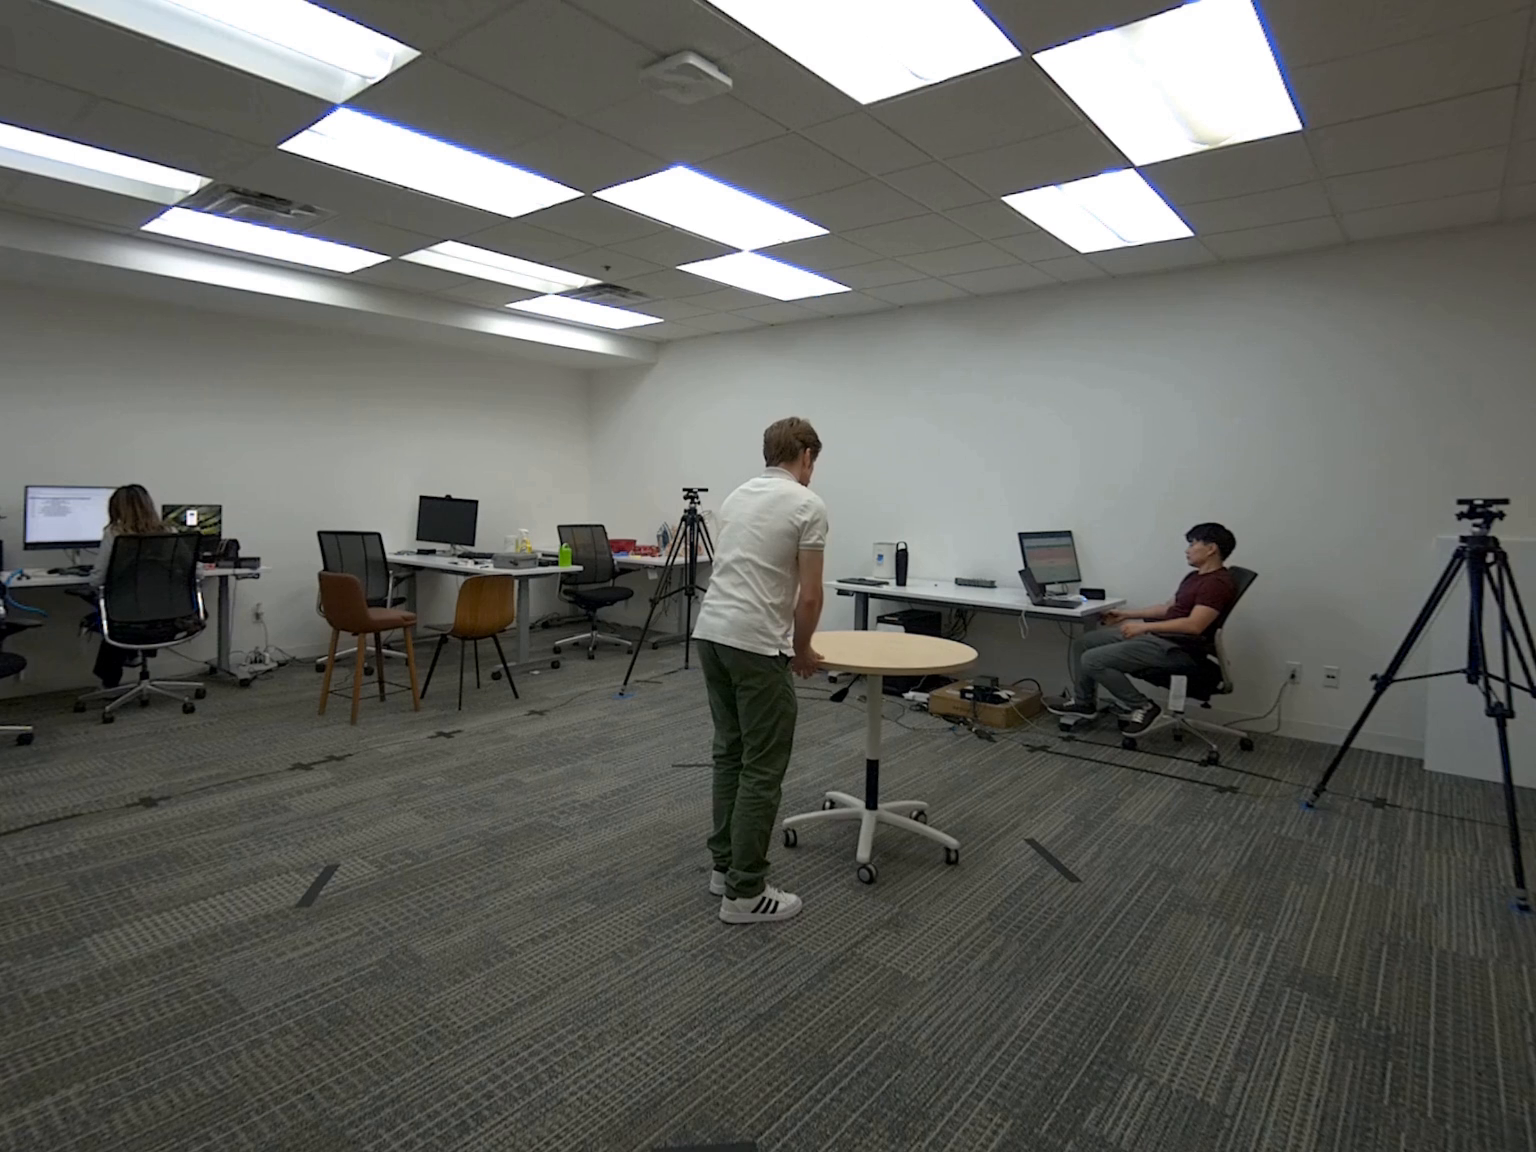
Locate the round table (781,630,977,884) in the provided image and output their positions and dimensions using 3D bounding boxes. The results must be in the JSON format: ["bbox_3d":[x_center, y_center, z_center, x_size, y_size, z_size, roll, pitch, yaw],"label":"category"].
[{"bbox_3d":[0.409,0.669,3.352,0.763,0.791,0.768,1,4,-2],"label":"round table"}]
